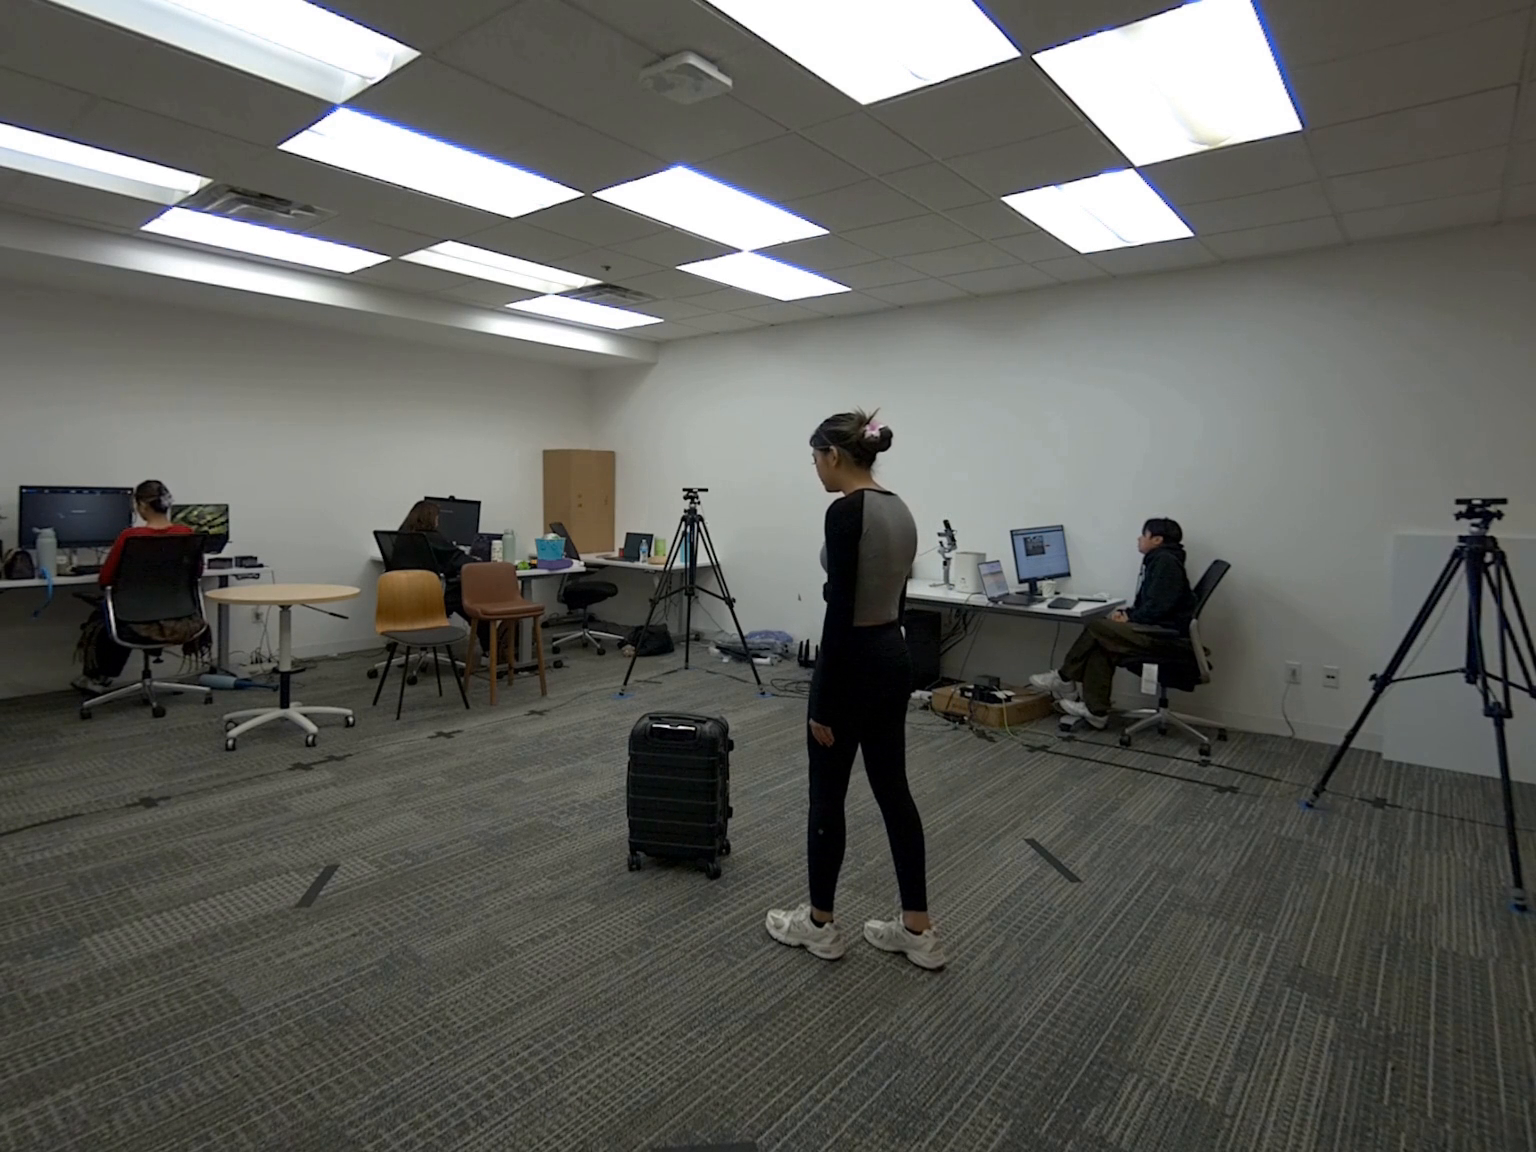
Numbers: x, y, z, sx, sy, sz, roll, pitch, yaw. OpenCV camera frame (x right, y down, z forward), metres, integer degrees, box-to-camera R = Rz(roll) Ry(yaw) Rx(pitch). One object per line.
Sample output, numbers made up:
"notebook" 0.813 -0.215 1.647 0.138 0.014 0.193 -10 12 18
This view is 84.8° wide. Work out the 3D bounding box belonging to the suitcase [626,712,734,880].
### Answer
"suitcase" -0.343 0.784 3.188 0.380 0.549 0.245 1 1 12
